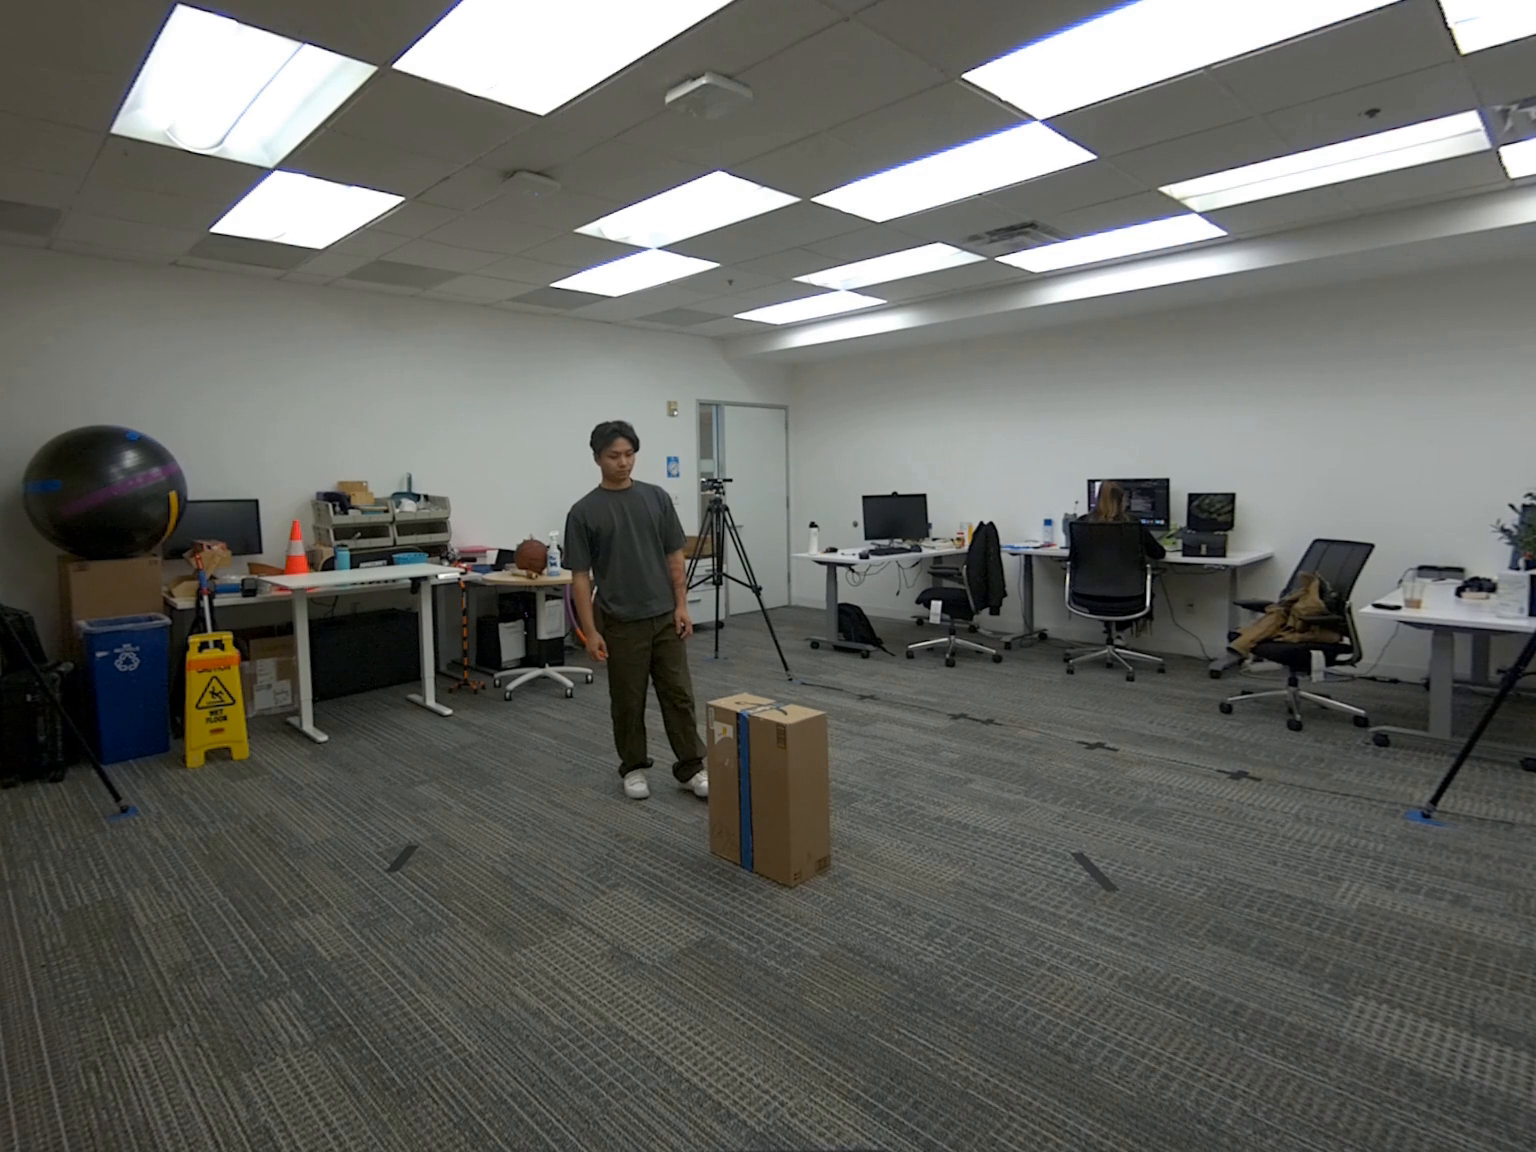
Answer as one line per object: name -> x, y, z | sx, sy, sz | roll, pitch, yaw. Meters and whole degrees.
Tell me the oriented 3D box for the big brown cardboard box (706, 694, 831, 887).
big brown cardboard box -> -0.004, 0.756, 3.115 | 0.227, 0.587, 0.430 | -5, 5, -44
